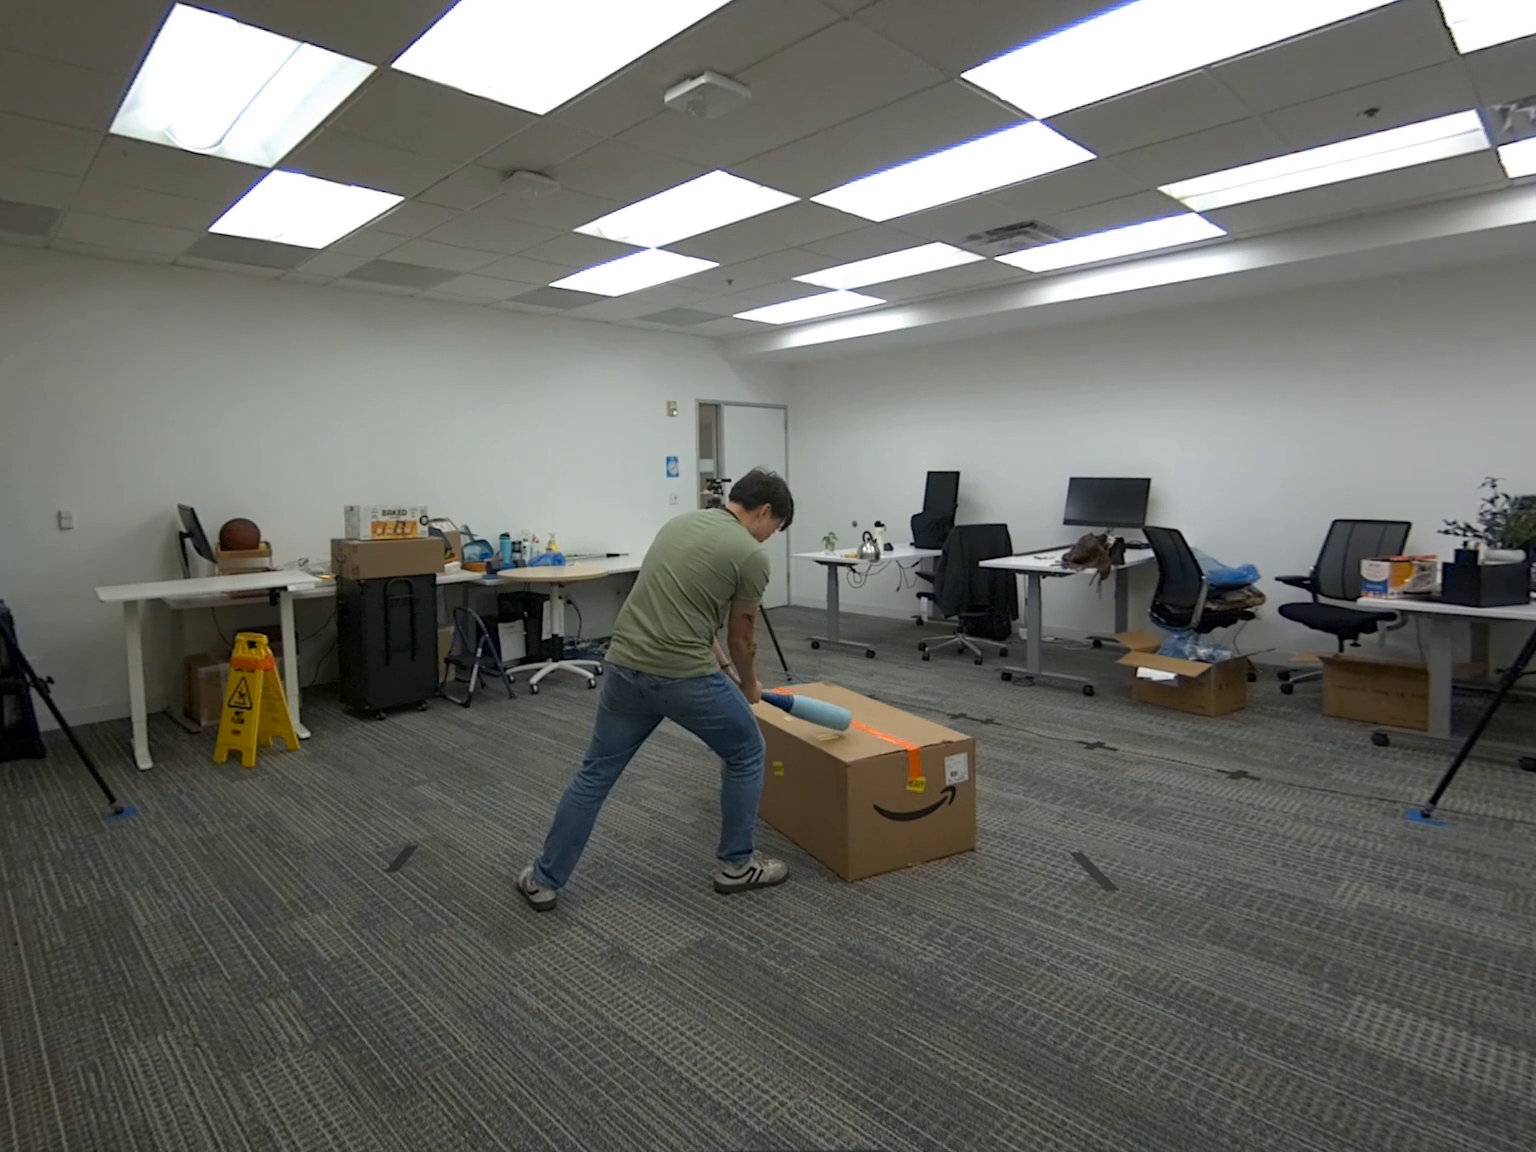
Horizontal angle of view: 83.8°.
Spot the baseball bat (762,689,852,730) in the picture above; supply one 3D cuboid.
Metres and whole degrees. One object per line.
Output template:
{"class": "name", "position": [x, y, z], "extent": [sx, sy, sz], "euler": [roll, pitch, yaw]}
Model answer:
{"class": "baseball bat", "position": [0.057, 0.415, 3.161], "extent": [0.534, 0.089, 0.090], "euler": [18, -1, -14]}
